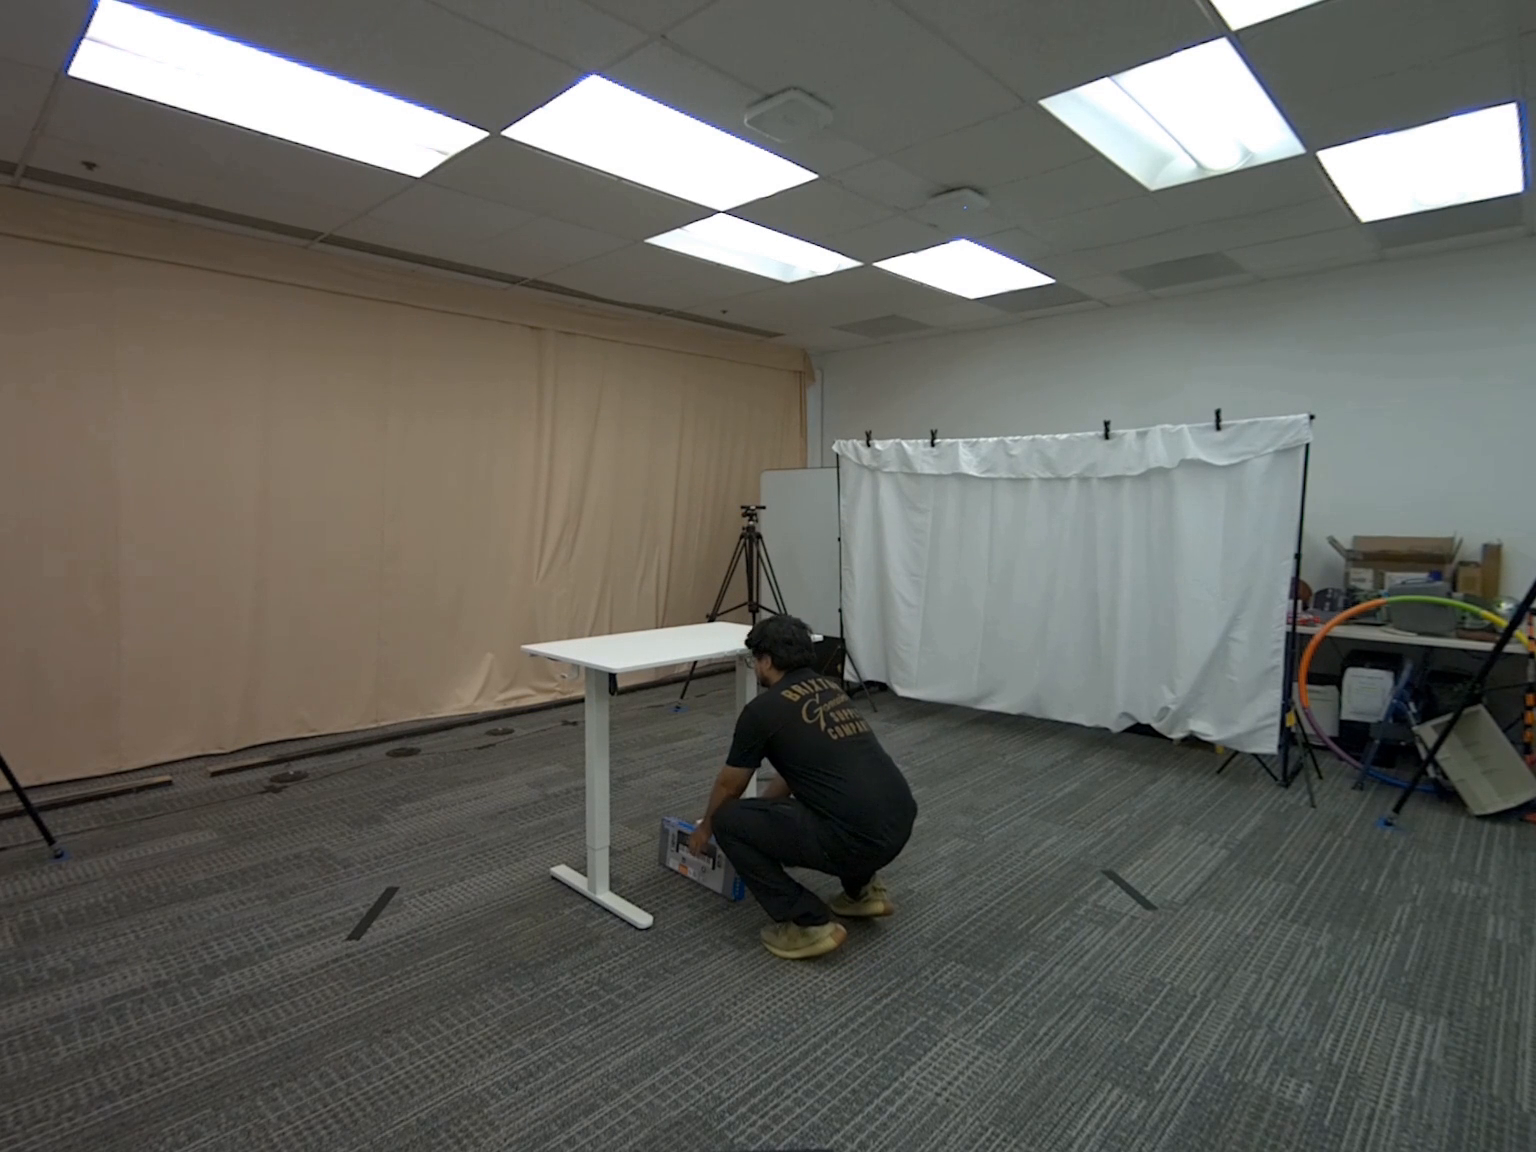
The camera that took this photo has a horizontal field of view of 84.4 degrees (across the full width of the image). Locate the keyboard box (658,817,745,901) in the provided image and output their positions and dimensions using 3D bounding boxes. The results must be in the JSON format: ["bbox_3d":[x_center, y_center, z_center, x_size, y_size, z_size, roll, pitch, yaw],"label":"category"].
[{"bbox_3d":[-0.250,1.046,3.138,0.057,0.176,0.451,7,-1,-43],"label":"keyboard box"}]
